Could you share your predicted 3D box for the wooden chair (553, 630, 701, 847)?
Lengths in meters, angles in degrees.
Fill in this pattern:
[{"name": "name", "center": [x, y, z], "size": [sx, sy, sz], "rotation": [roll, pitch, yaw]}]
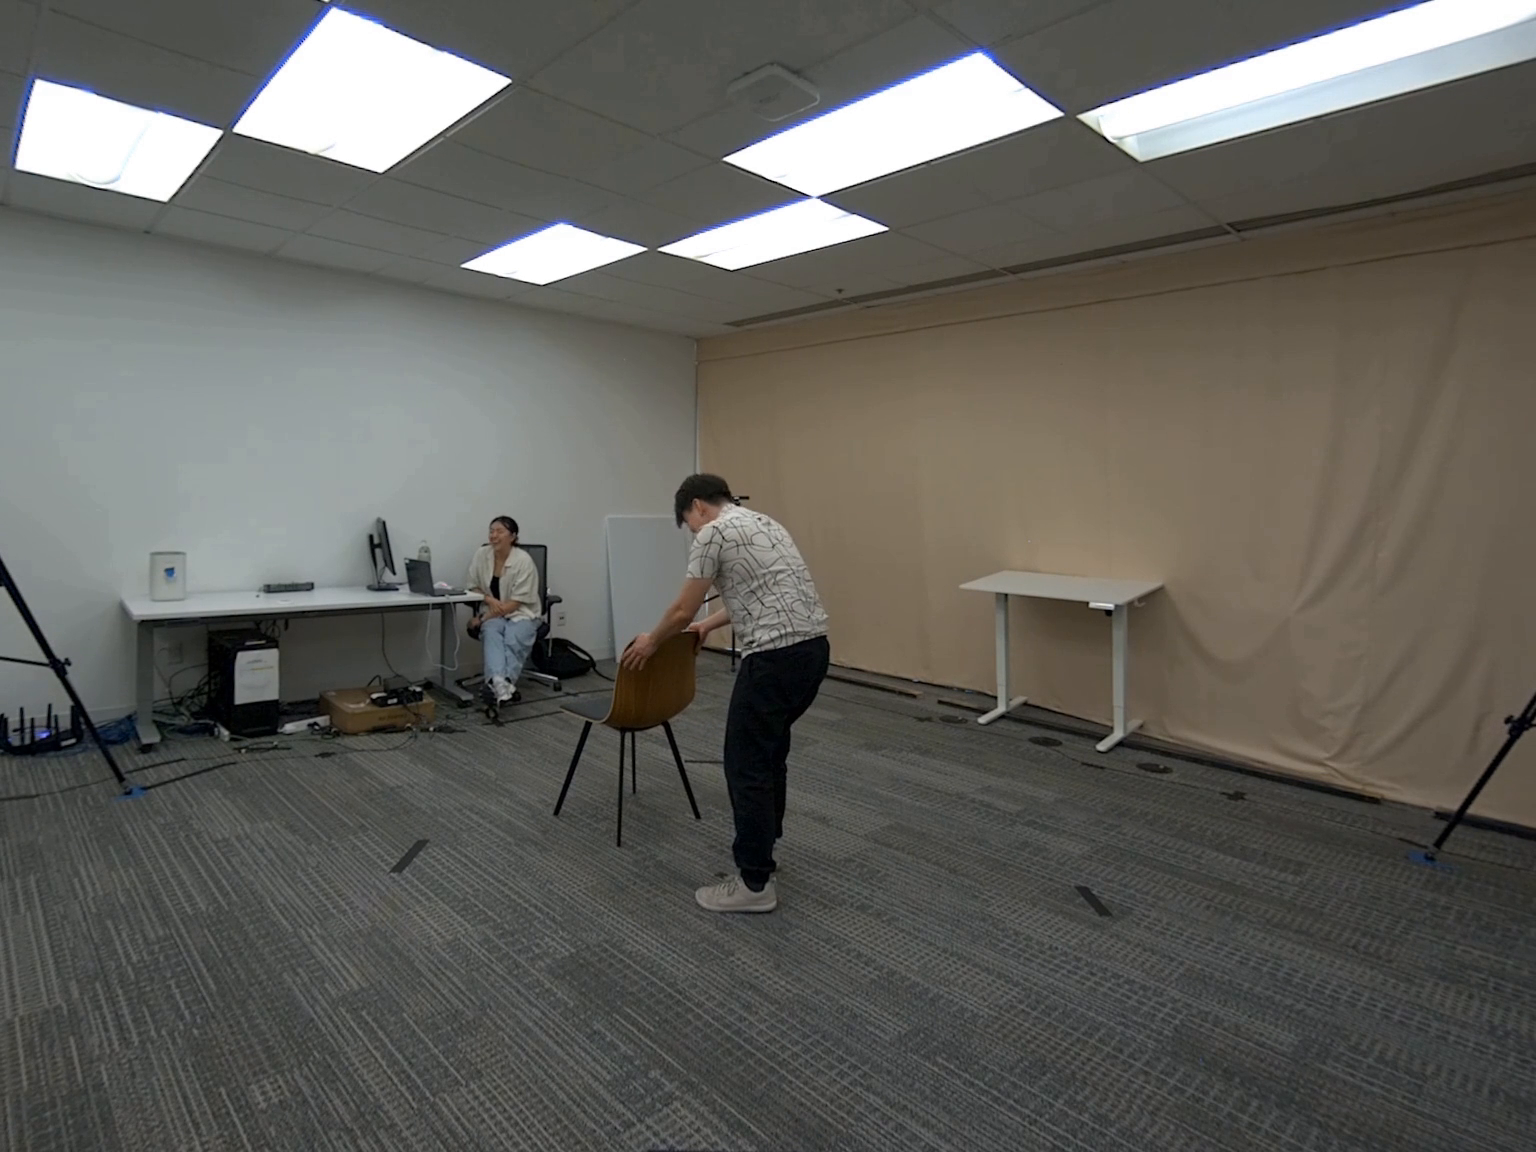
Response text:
[{"name": "wooden chair", "center": [-0.608, 0.618, 3.617], "size": [0.537, 0.873, 0.467], "rotation": [11, 9, 42]}]
